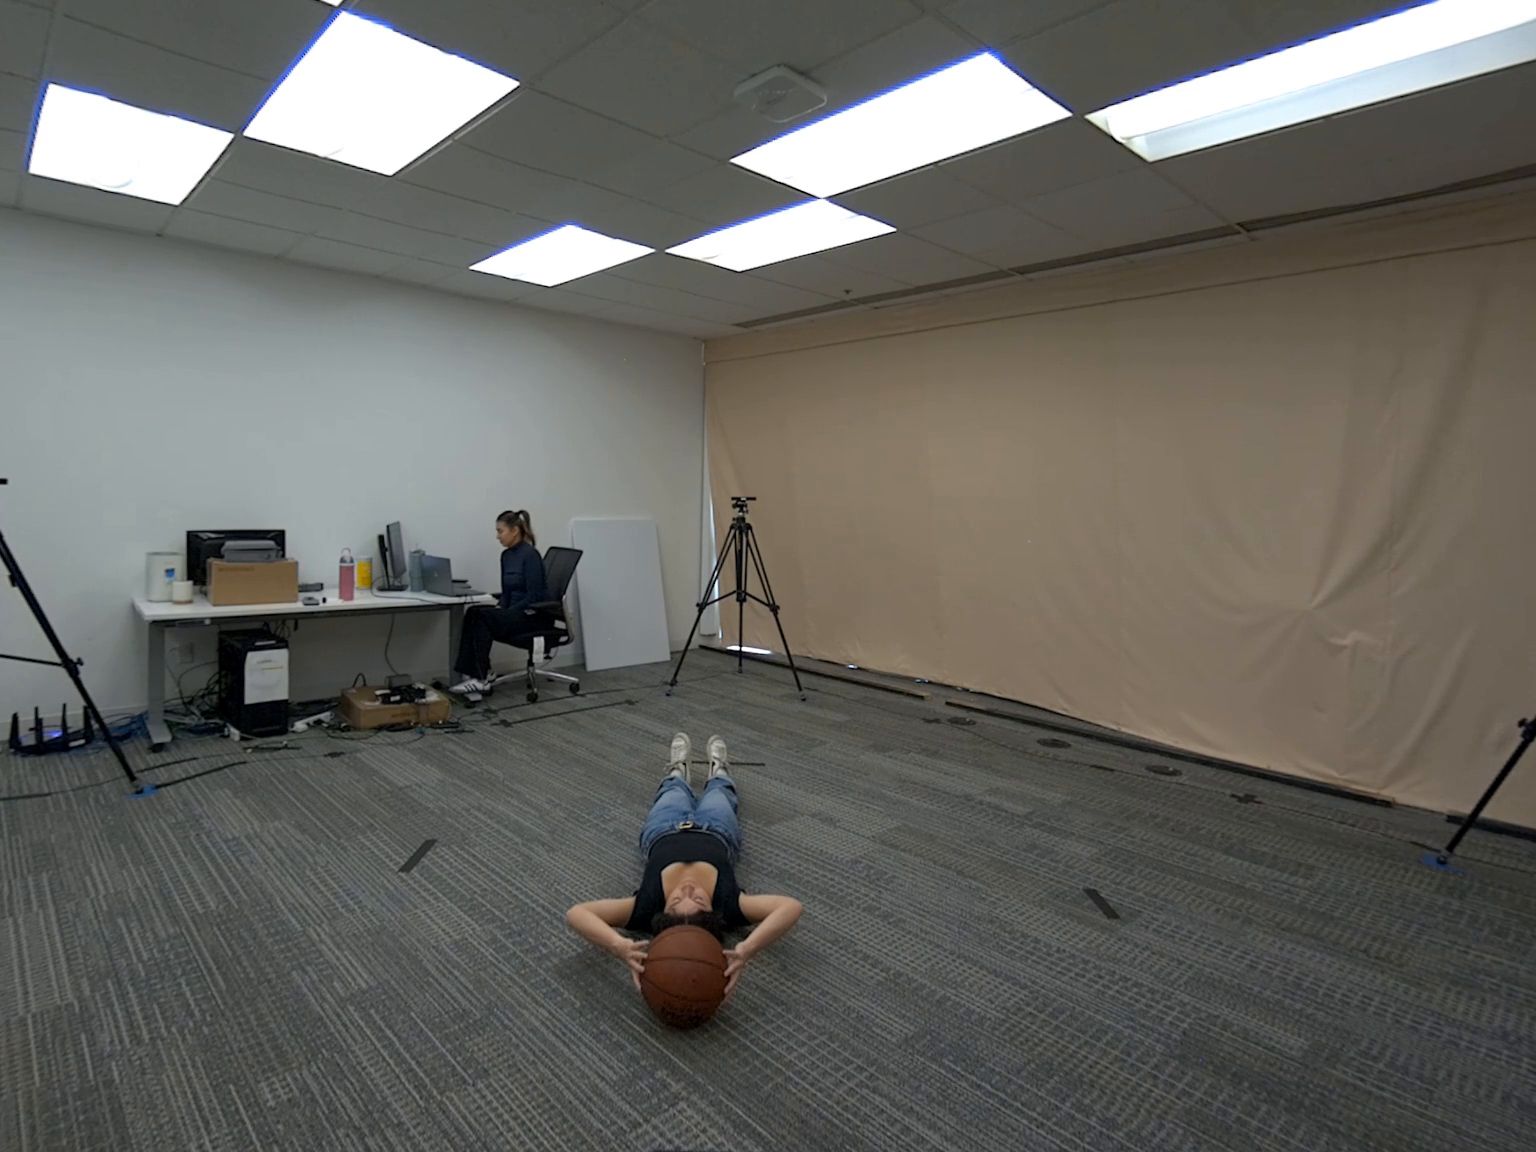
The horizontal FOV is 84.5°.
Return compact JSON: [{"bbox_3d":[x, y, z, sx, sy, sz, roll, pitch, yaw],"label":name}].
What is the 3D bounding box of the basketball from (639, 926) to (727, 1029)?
[{"bbox_3d":[-0.226,1.062,2.239,0.236,0.235,0.237,1,4,-1],"label":"basketball"}]
